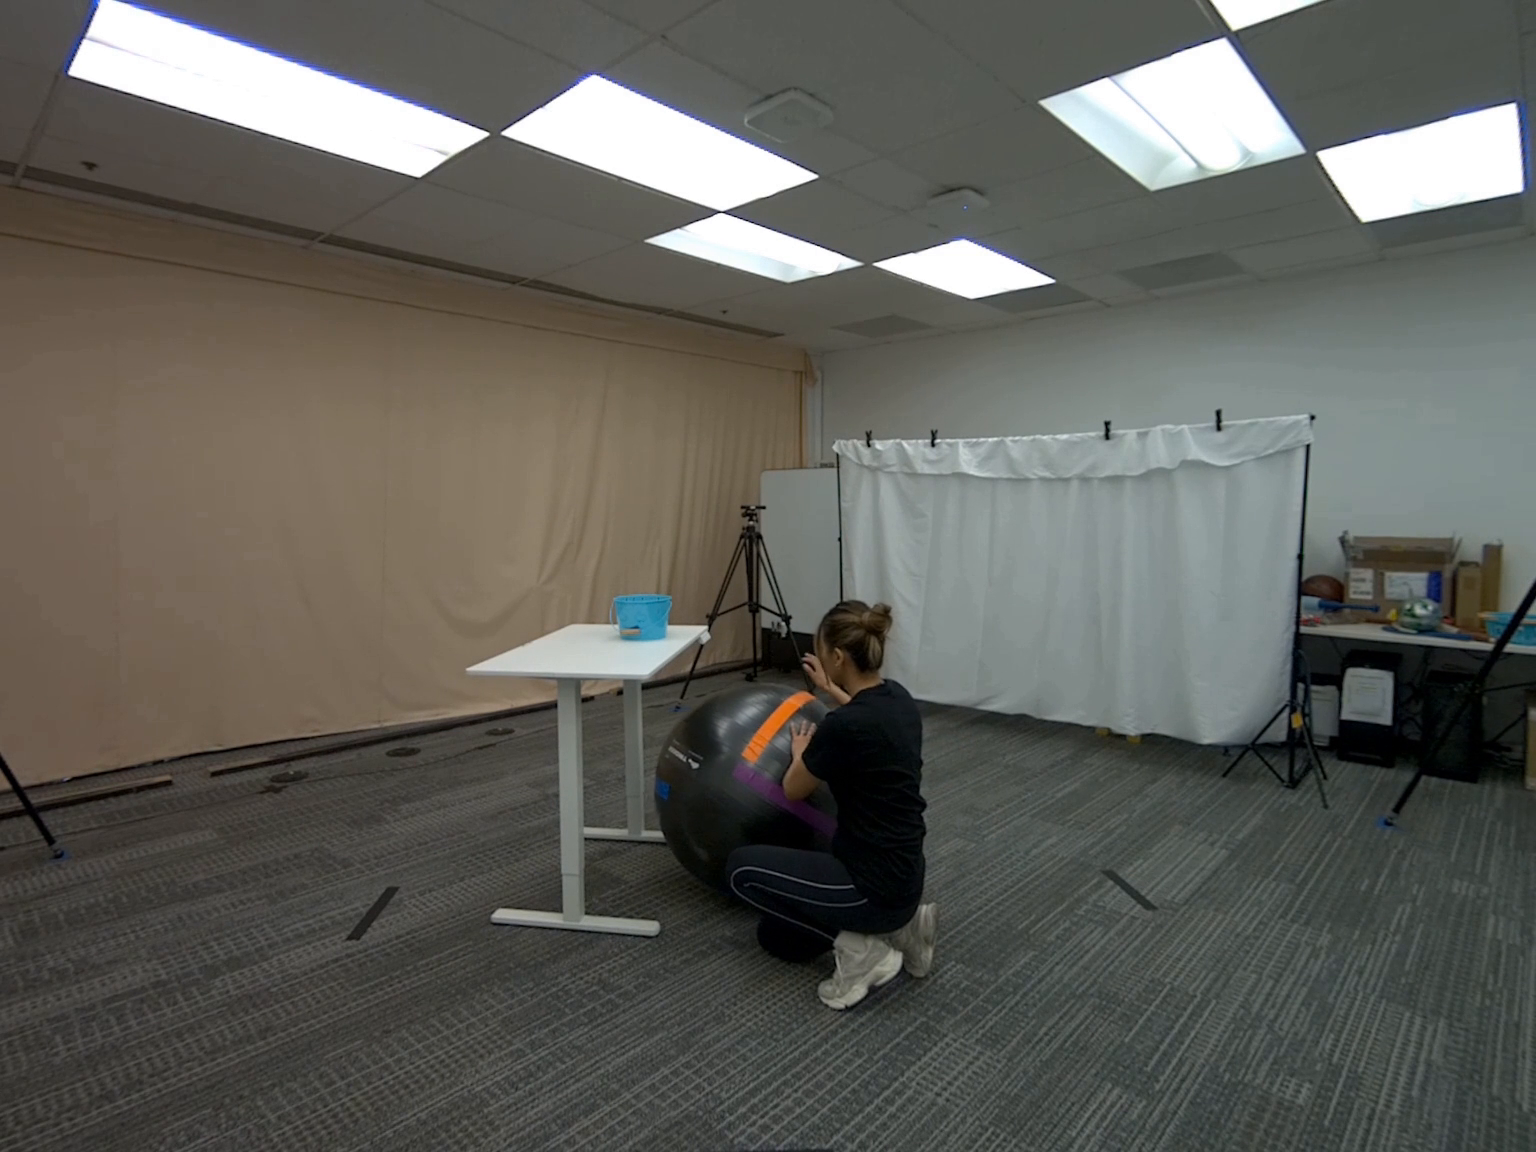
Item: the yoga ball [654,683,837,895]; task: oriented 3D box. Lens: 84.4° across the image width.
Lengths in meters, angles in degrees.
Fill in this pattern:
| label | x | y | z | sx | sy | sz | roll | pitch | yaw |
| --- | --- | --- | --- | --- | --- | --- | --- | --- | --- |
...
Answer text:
| label | x | y | z | sx | sy | sz | roll | pitch | yaw |
| --- | --- | --- | --- | --- | --- | --- | --- | --- | --- |
| yoga ball | -0.039 | 0.775 | 3.049 | 0.757 | 0.756 | 0.761 | 0 | 4 | -2 |
